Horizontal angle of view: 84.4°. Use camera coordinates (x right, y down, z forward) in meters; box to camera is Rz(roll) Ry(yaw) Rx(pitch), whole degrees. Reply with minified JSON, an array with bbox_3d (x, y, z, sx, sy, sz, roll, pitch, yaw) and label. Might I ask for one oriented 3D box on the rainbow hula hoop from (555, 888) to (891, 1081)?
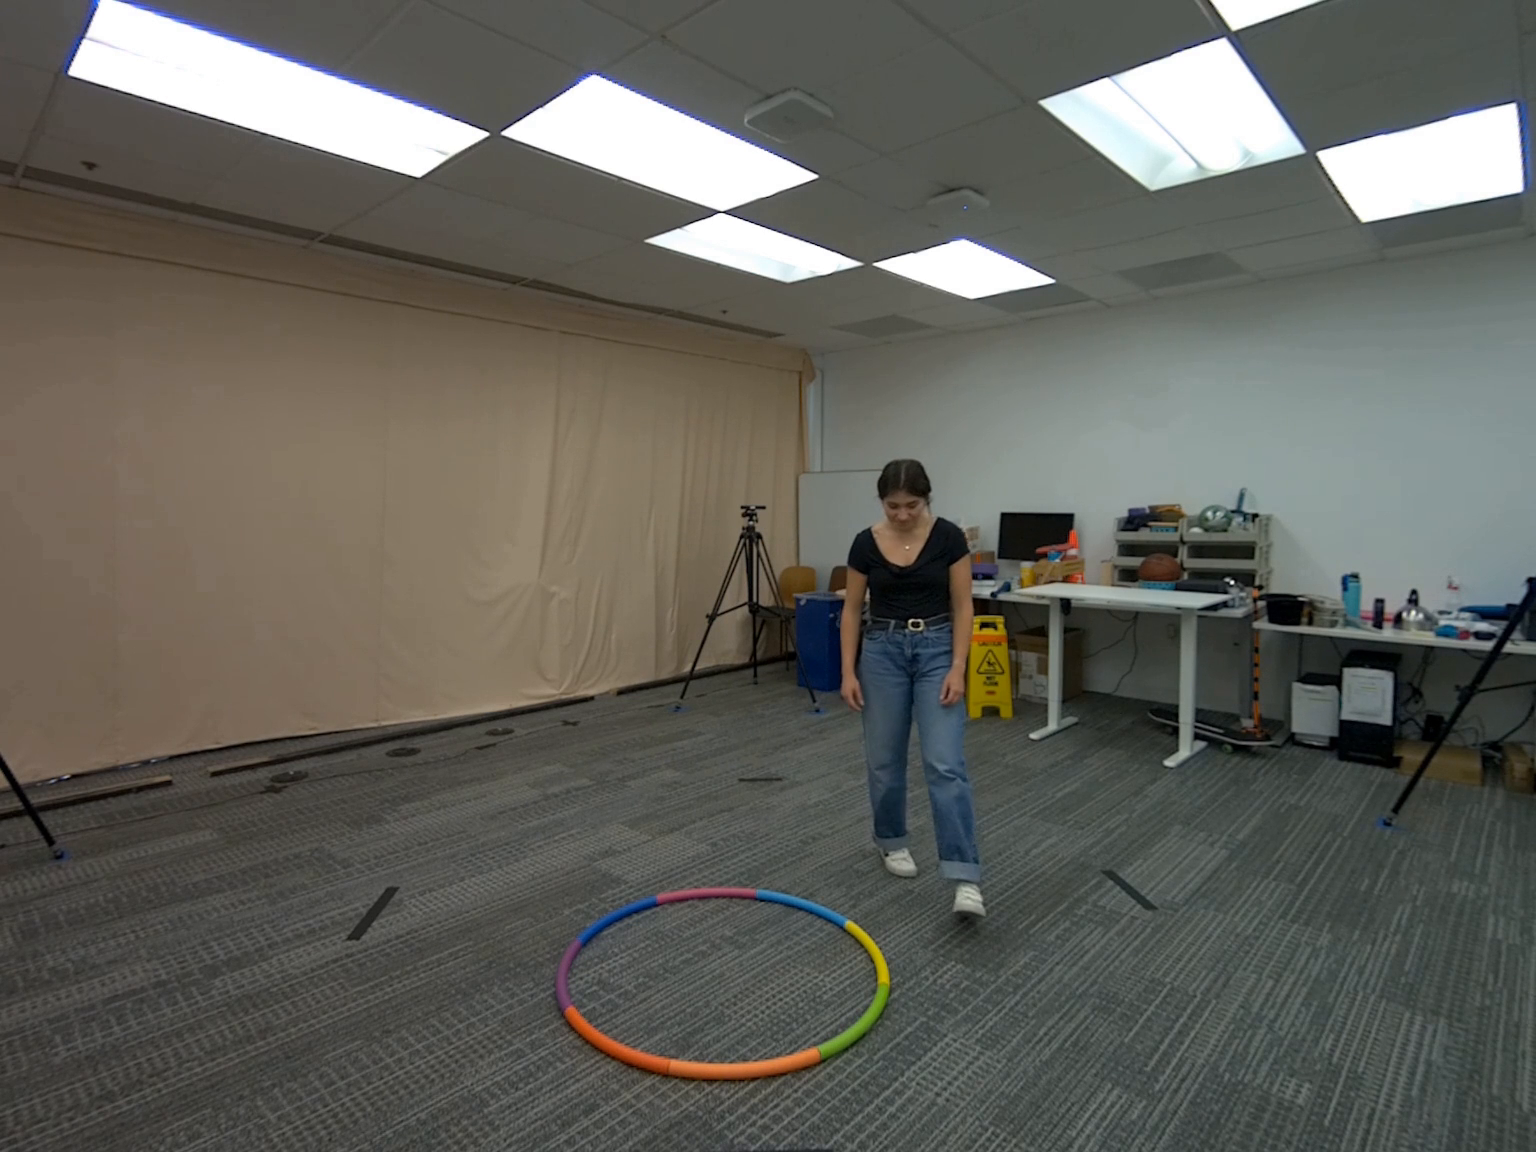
[{"bbox_3d":[-0.129,1.156,2.526,0.978,0.035,0.982,-1,4,-2],"label":"rainbow hula hoop"}]
